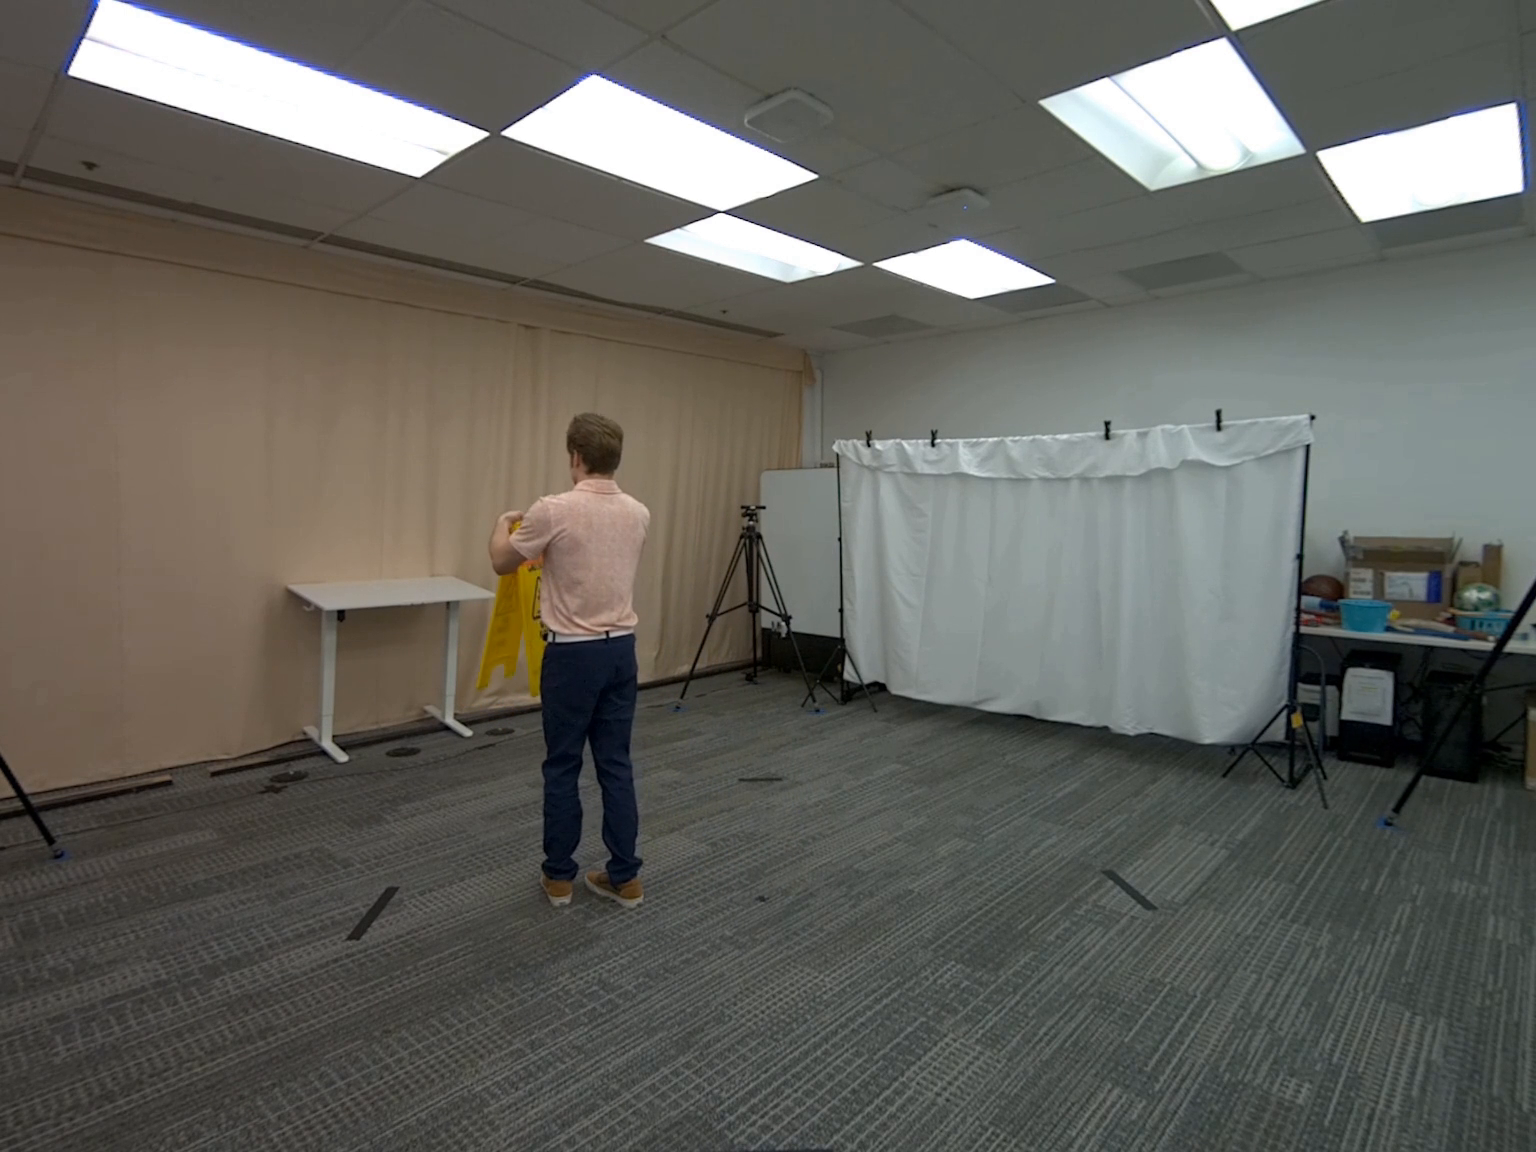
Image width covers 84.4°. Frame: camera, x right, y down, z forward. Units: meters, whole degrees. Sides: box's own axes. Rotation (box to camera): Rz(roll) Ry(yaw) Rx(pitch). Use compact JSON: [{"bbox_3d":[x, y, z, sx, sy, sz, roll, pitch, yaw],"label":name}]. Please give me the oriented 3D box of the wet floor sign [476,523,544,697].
[{"bbox_3d":[-0.947,0.110,3.265,0.295,0.644,0.278,5,5,14],"label":"wet floor sign"}]
